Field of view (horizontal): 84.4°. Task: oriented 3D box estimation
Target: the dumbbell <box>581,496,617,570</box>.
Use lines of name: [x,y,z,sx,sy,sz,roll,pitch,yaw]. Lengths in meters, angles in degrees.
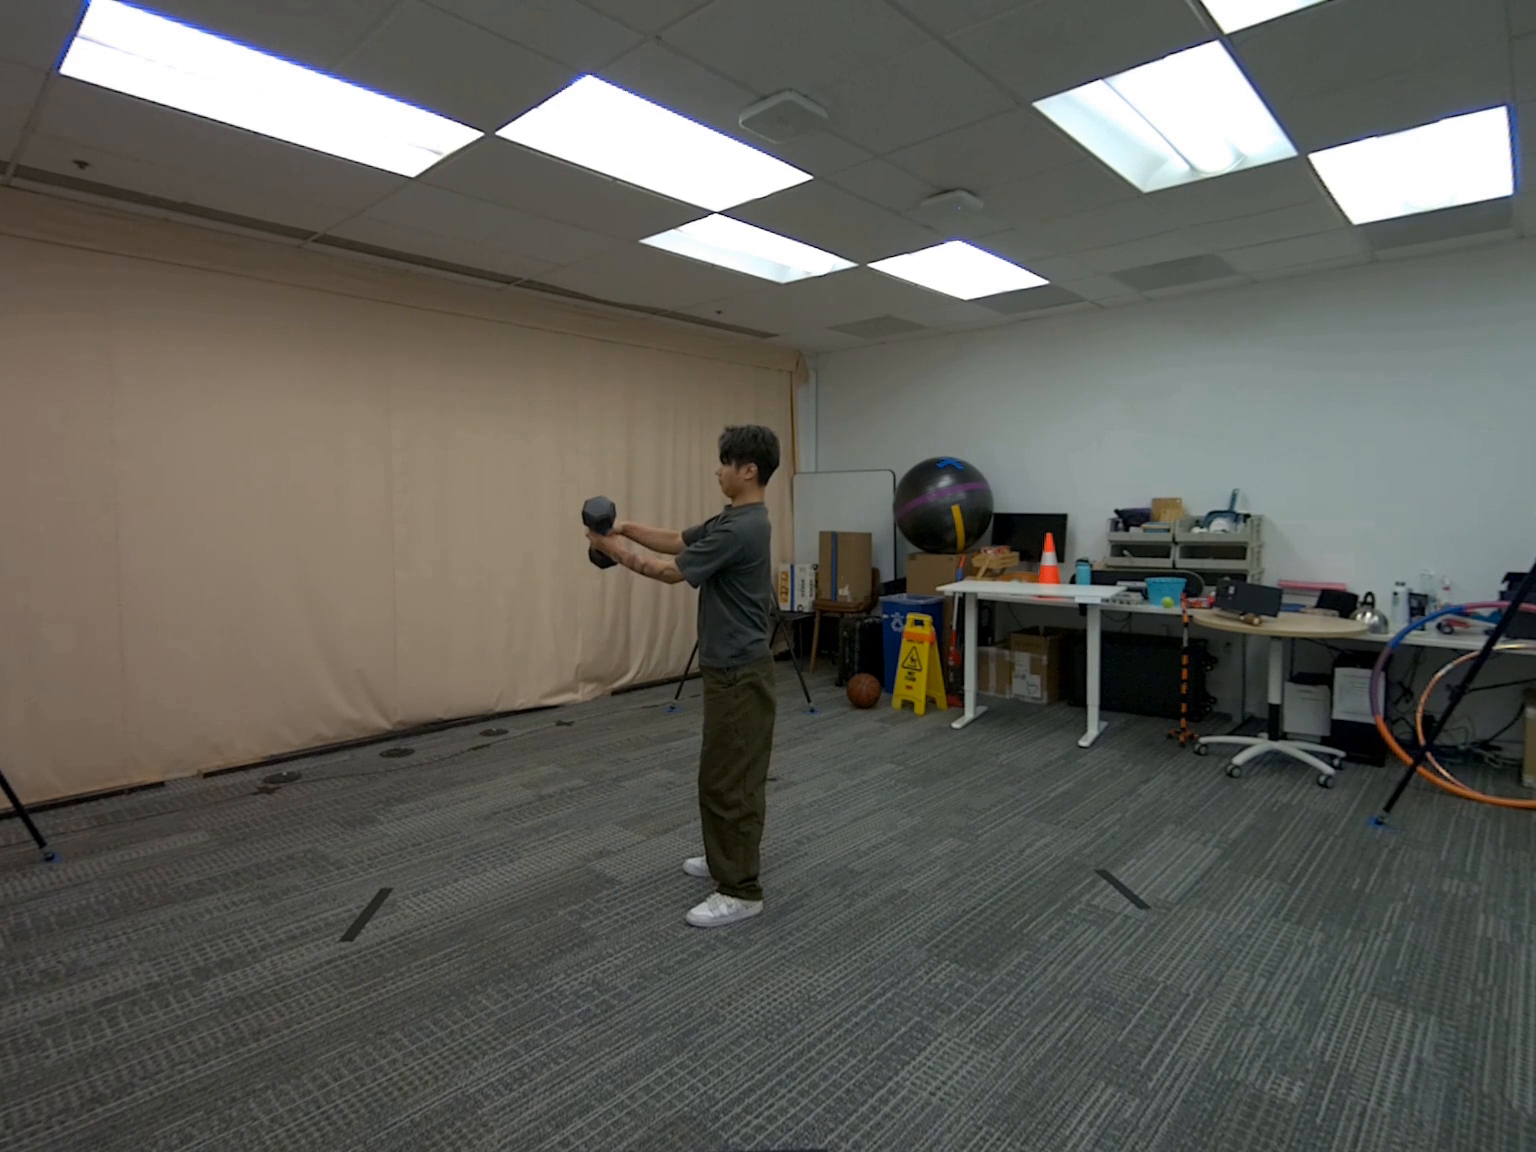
dumbbell: [-0.596,-0.157,3.046,0.109,0.124,0.288,7,-38,3]
